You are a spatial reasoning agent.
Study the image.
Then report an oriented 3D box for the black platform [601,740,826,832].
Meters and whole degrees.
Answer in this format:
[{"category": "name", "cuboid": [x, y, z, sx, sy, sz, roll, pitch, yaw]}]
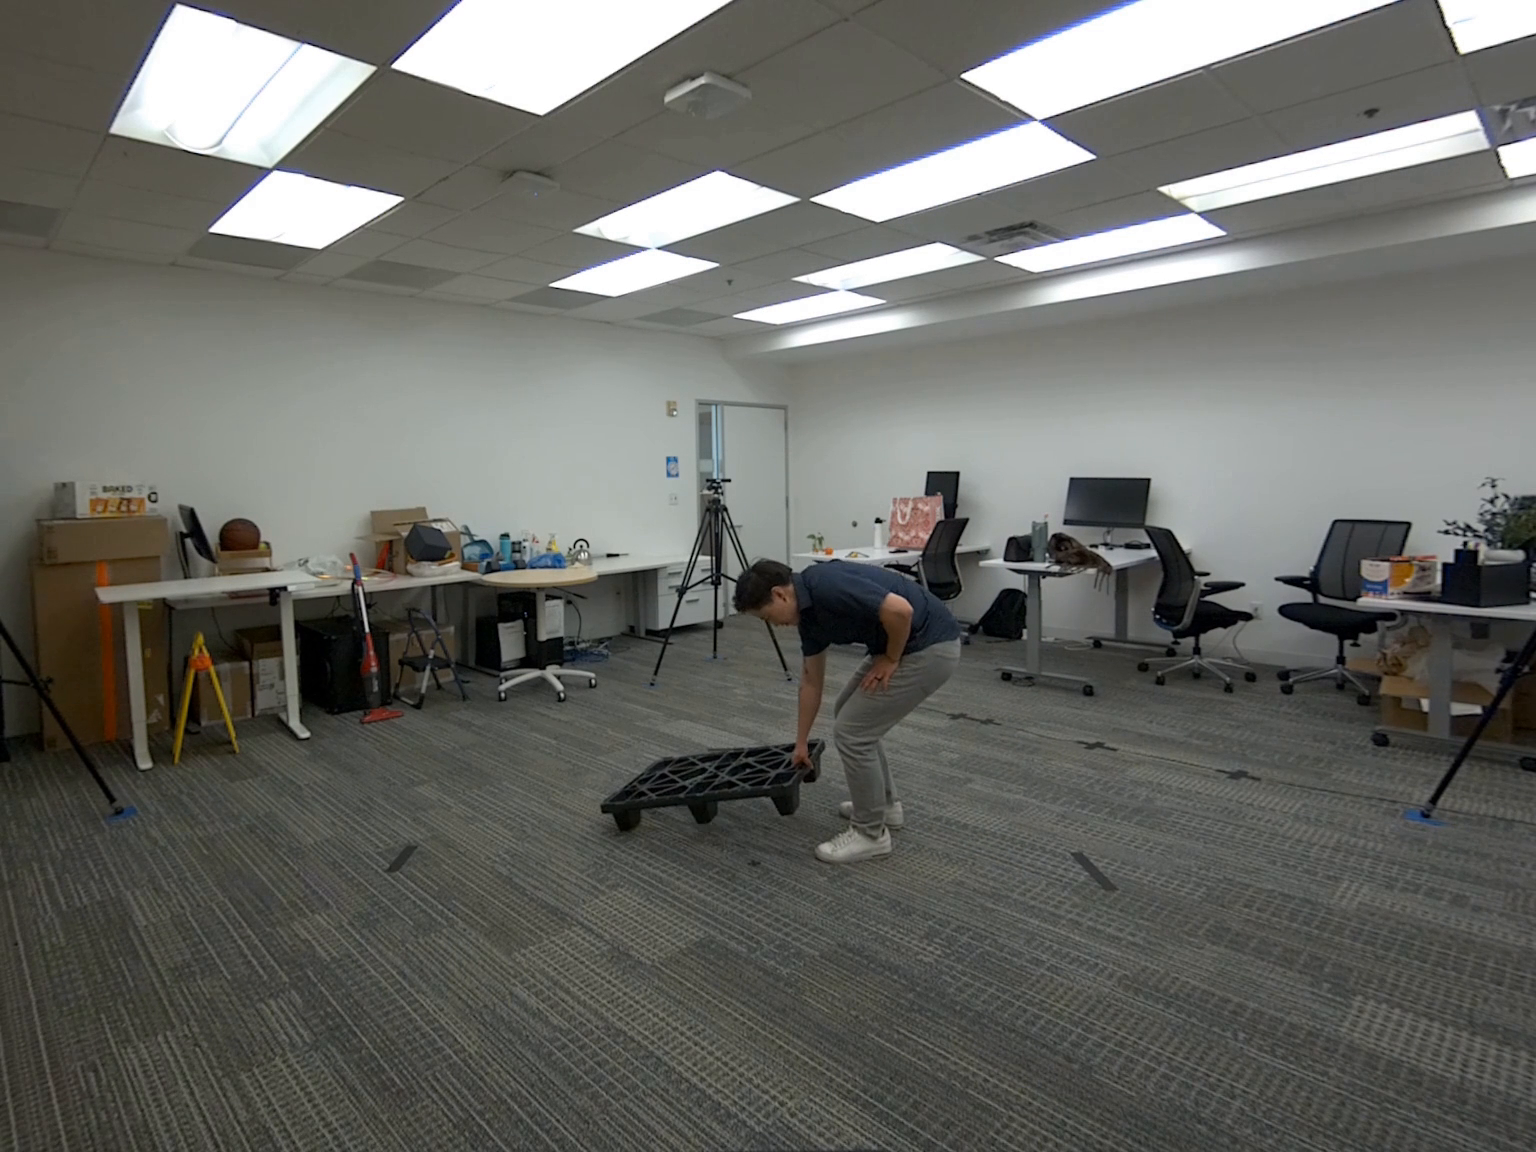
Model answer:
[{"category": "black platform", "cuboid": [-0.199, 0.866, 3.517, 0.817, 0.143, 0.597, -11, 2, 18]}]
